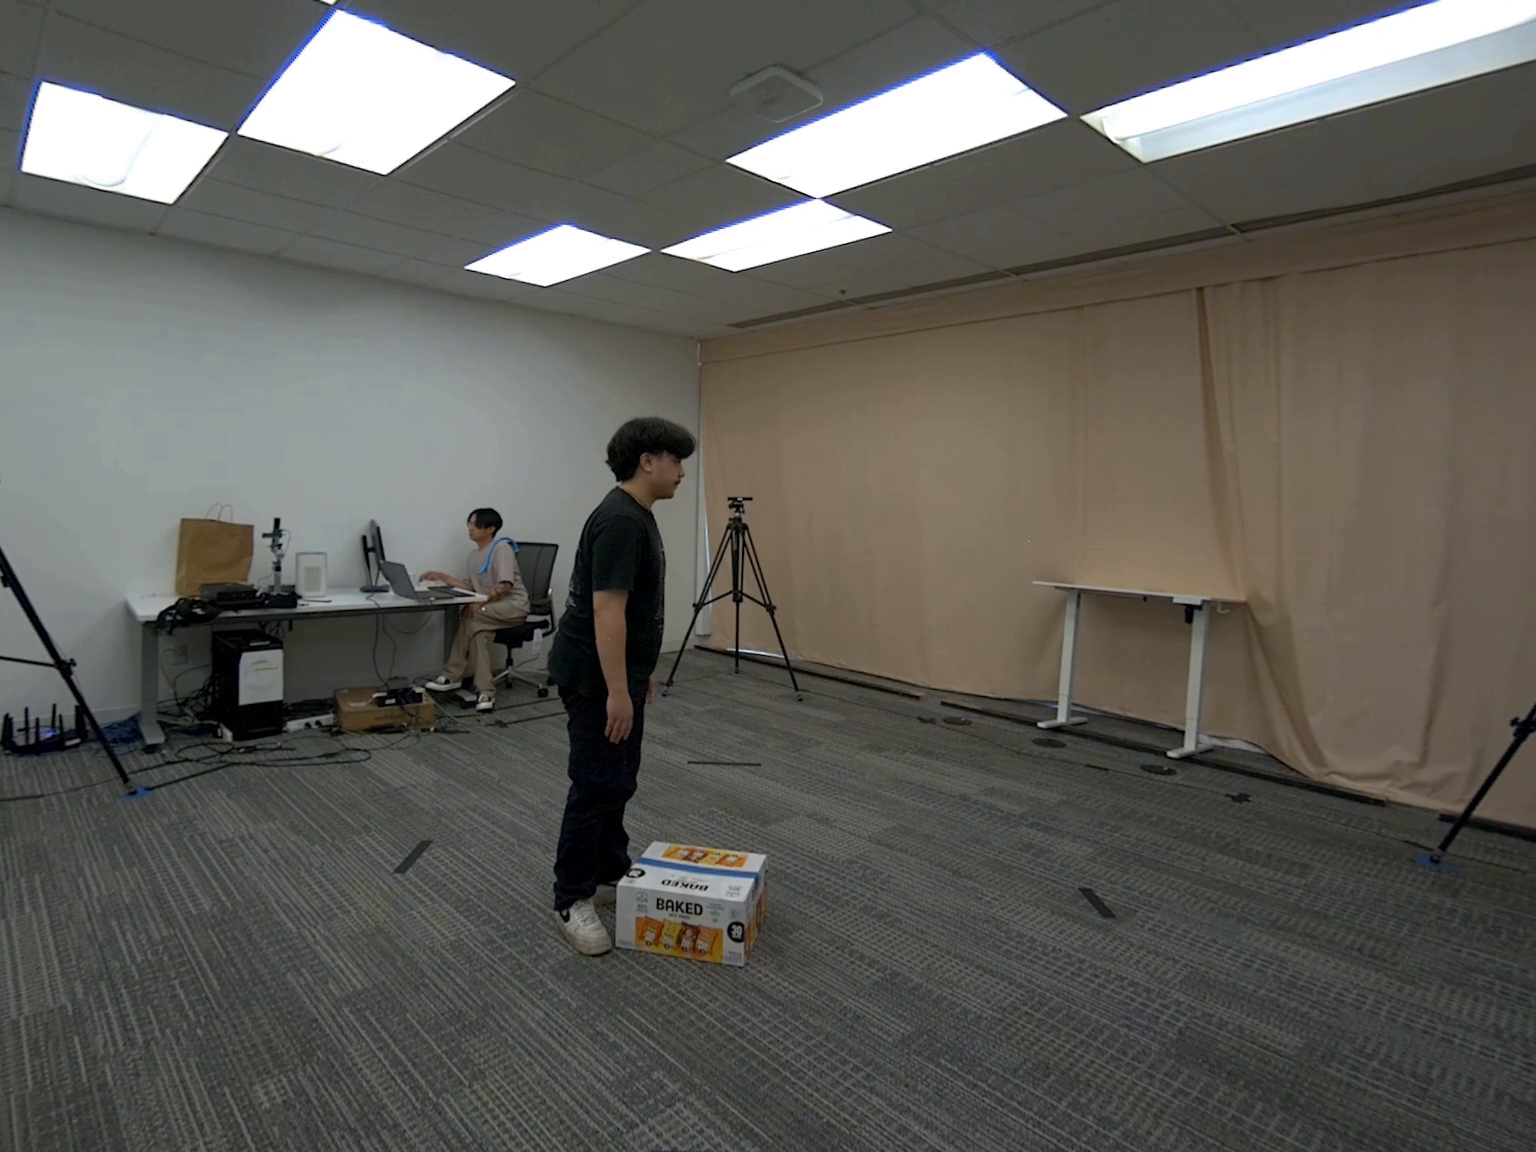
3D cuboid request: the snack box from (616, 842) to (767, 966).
[{"bbox_3d":[-0.243,1.038,2.695,0.409,0.205,0.337,2,4,12],"label":"snack box"}]
